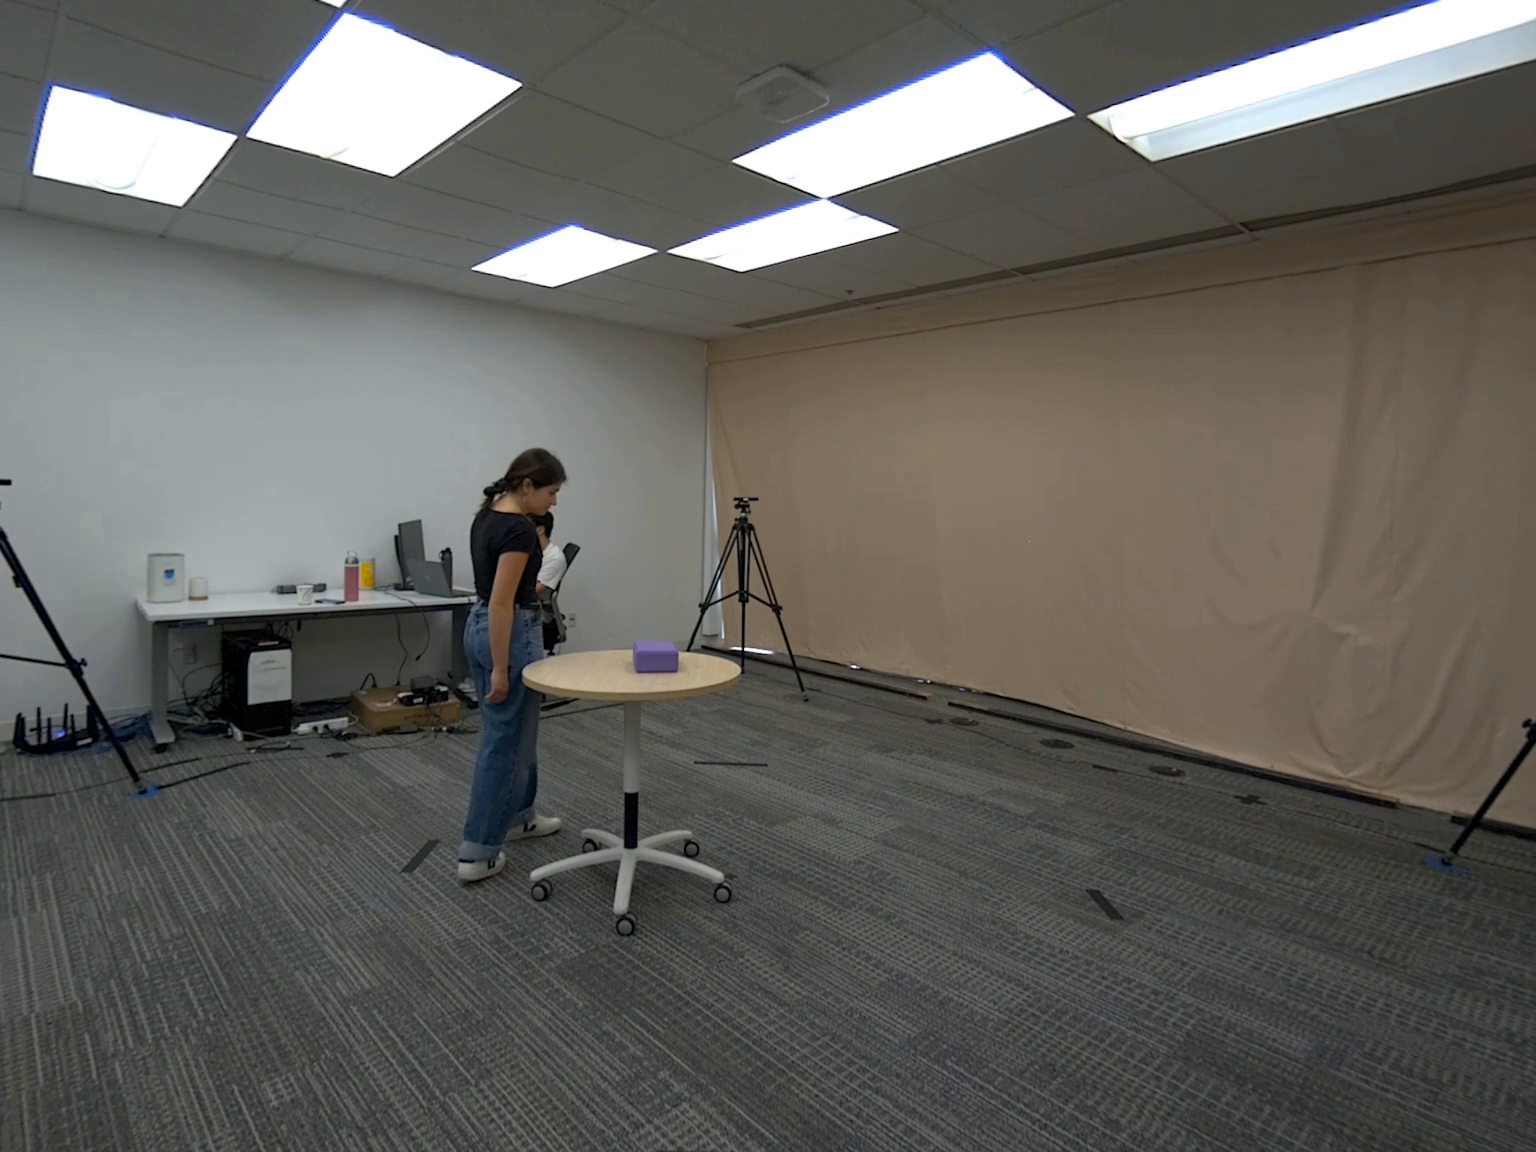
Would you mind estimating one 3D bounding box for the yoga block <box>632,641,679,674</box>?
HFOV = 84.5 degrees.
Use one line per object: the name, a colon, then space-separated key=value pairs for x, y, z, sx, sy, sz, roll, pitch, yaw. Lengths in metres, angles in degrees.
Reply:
yoga block: x=-0.415 y=0.292 z=3.010 sx=0.148 sy=0.076 sz=0.232 roll=0 pitch=5 yaw=-10
